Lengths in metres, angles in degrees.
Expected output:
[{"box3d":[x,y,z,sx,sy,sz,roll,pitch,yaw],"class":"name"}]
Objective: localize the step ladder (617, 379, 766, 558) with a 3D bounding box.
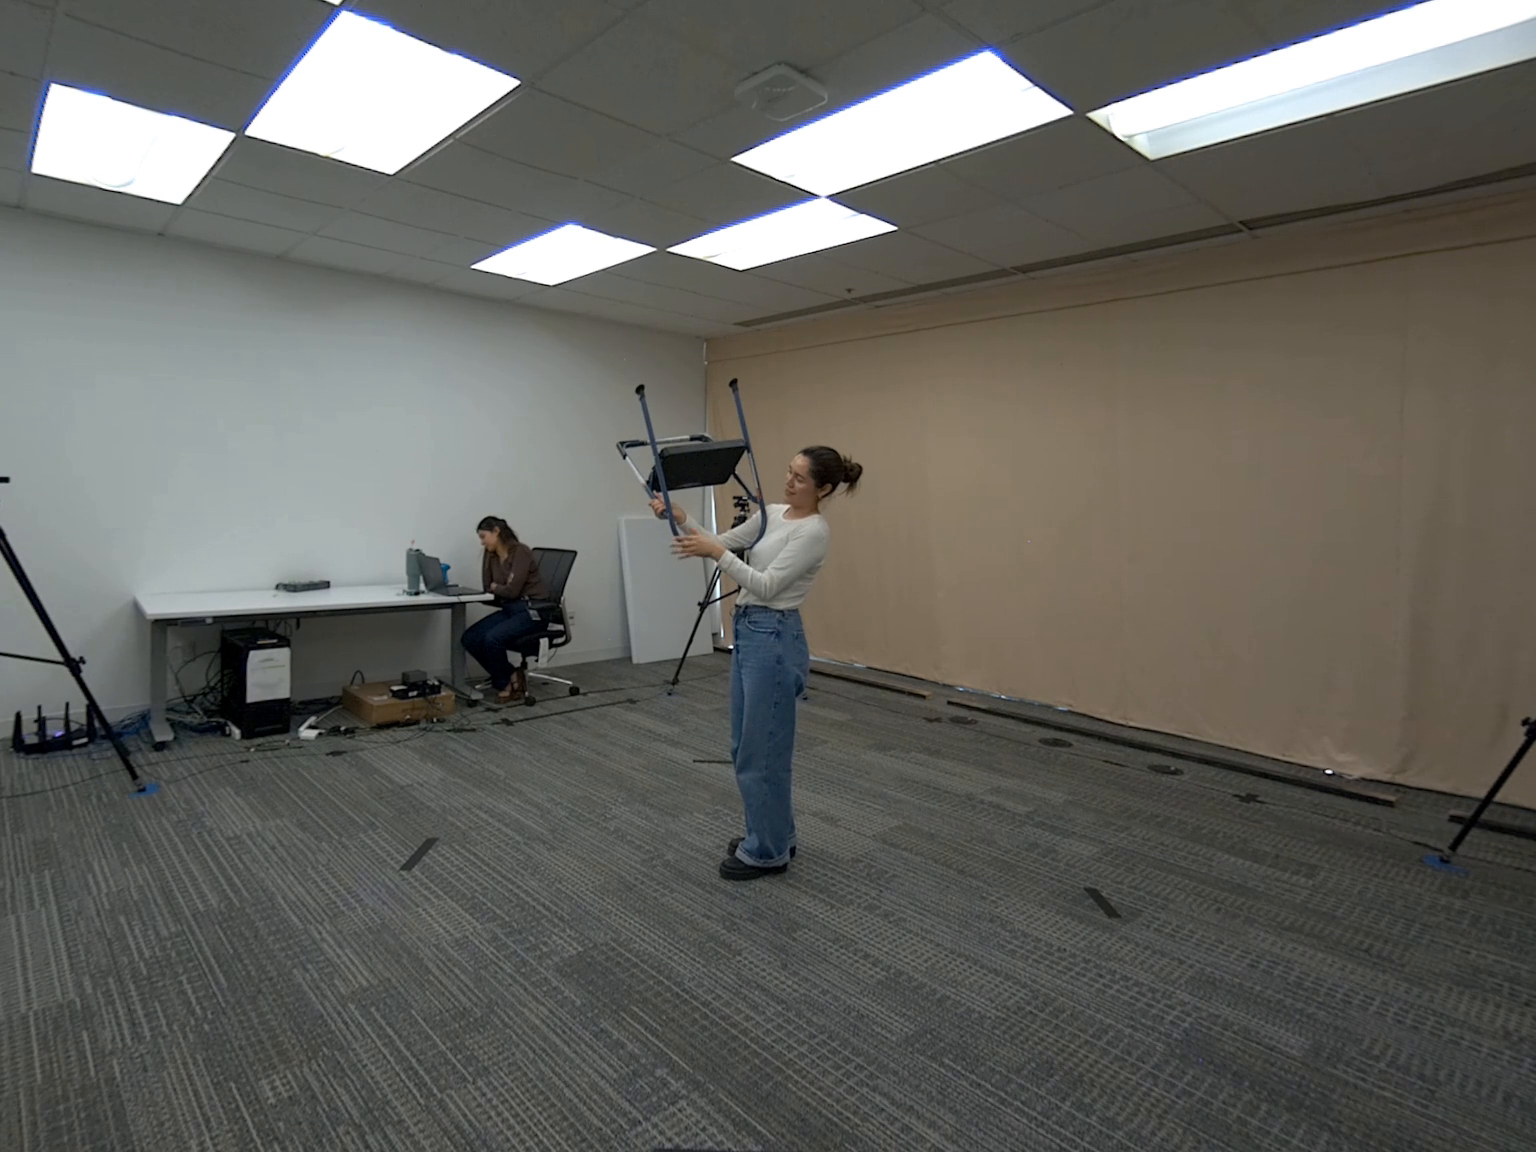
[{"box3d":[-0.250,-0.376,3.128,0.423,0.619,0.347,-11,-27,-31],"class":"step ladder"}]
